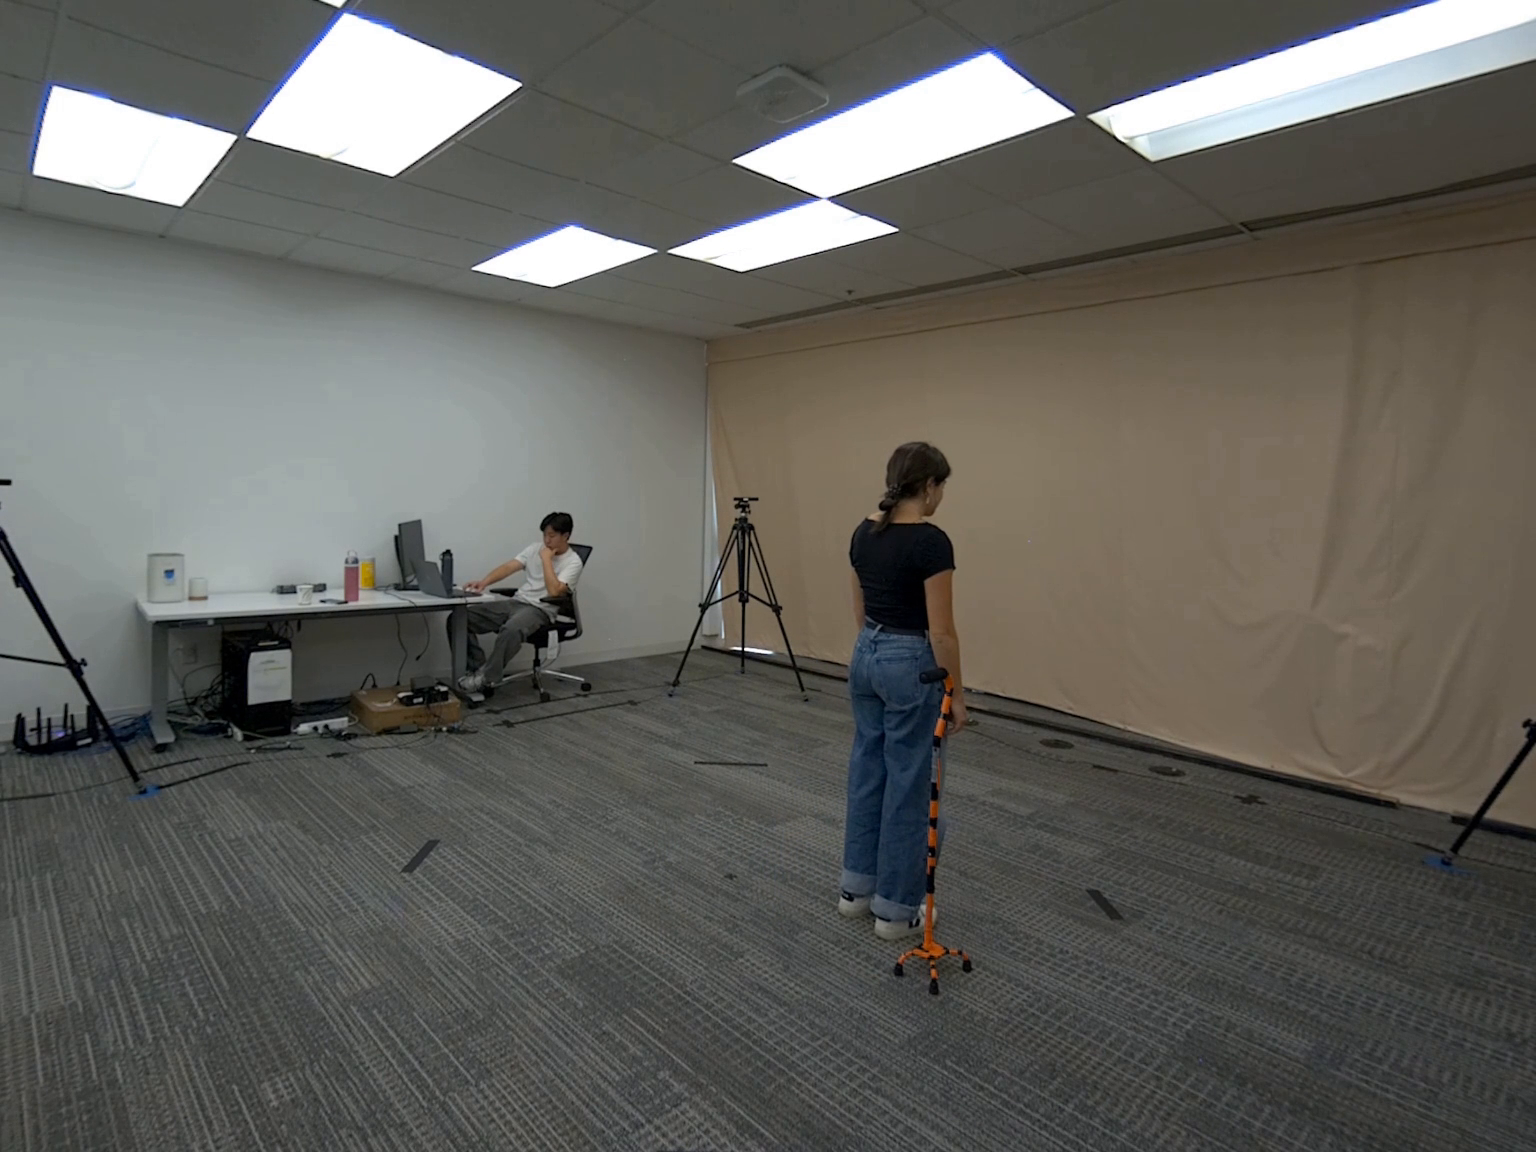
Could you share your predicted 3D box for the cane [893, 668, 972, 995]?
[{"bbox_3d":[0.493,0.734,2.469,0.155,0.906,0.202,4,4,45],"label":"cane"}]
